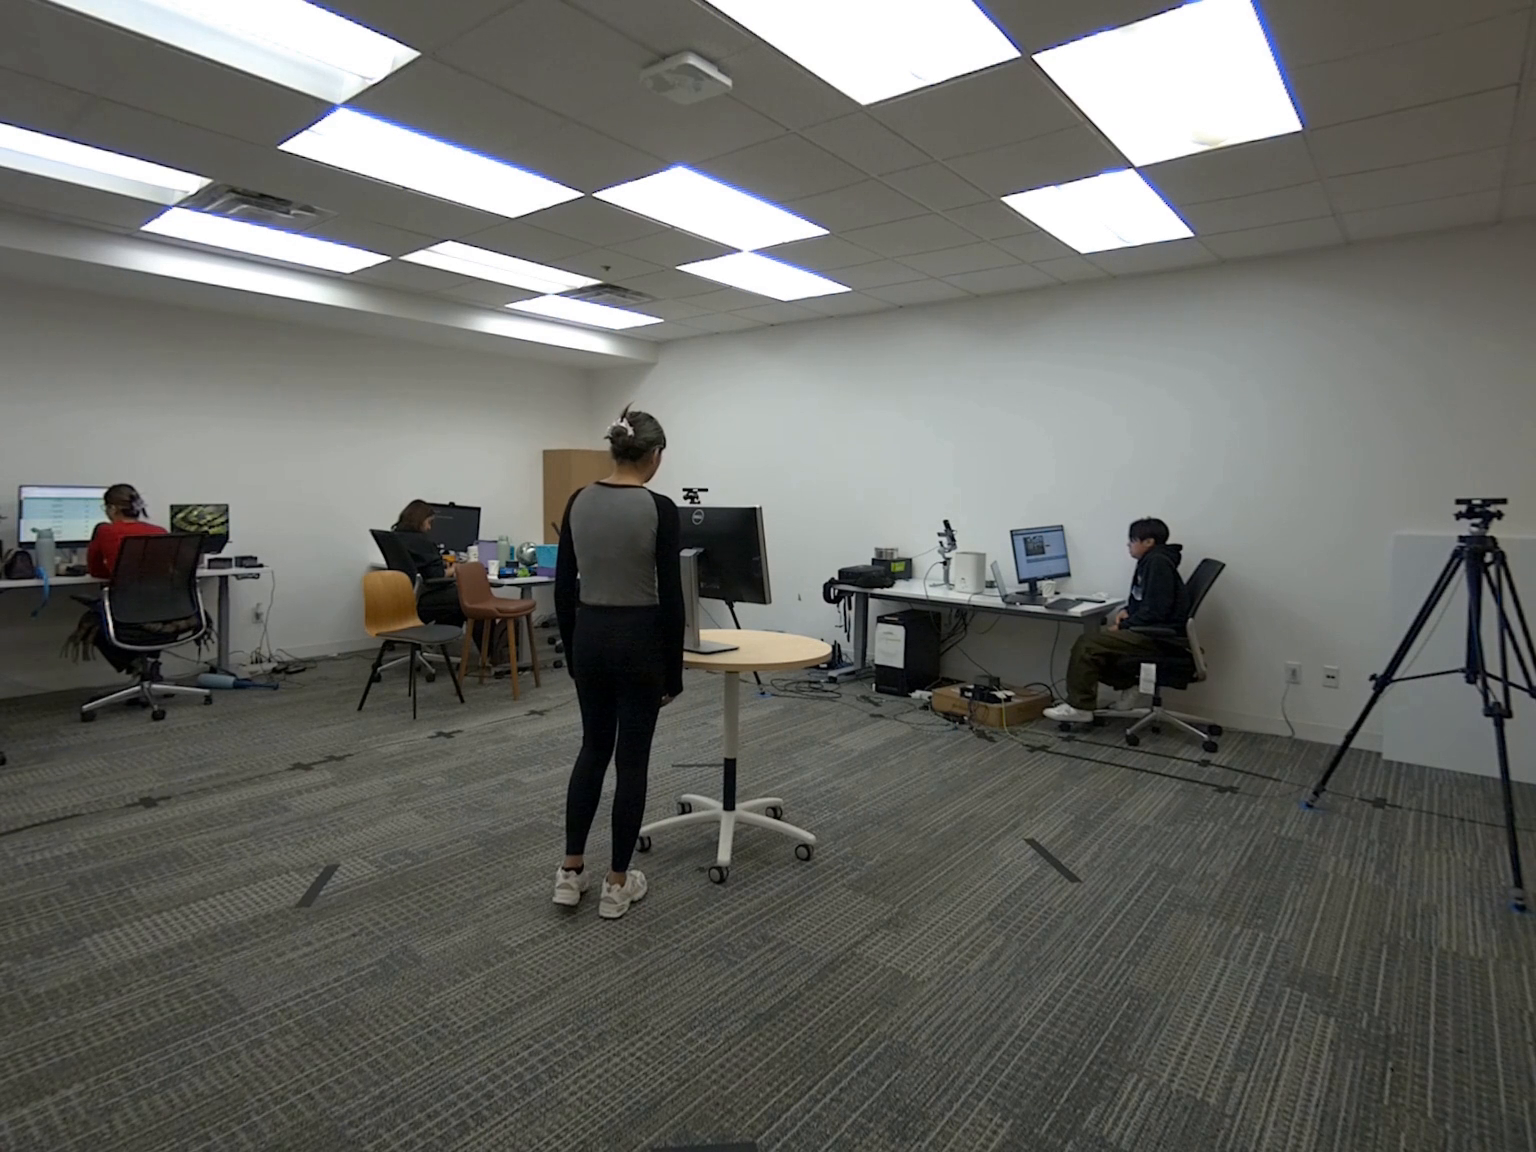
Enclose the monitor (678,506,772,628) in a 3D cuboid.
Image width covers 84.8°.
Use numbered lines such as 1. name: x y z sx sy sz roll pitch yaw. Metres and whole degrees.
1. monitor: -0.261 0.003 3.205 0.557 0.522 0.181 4 2 39
